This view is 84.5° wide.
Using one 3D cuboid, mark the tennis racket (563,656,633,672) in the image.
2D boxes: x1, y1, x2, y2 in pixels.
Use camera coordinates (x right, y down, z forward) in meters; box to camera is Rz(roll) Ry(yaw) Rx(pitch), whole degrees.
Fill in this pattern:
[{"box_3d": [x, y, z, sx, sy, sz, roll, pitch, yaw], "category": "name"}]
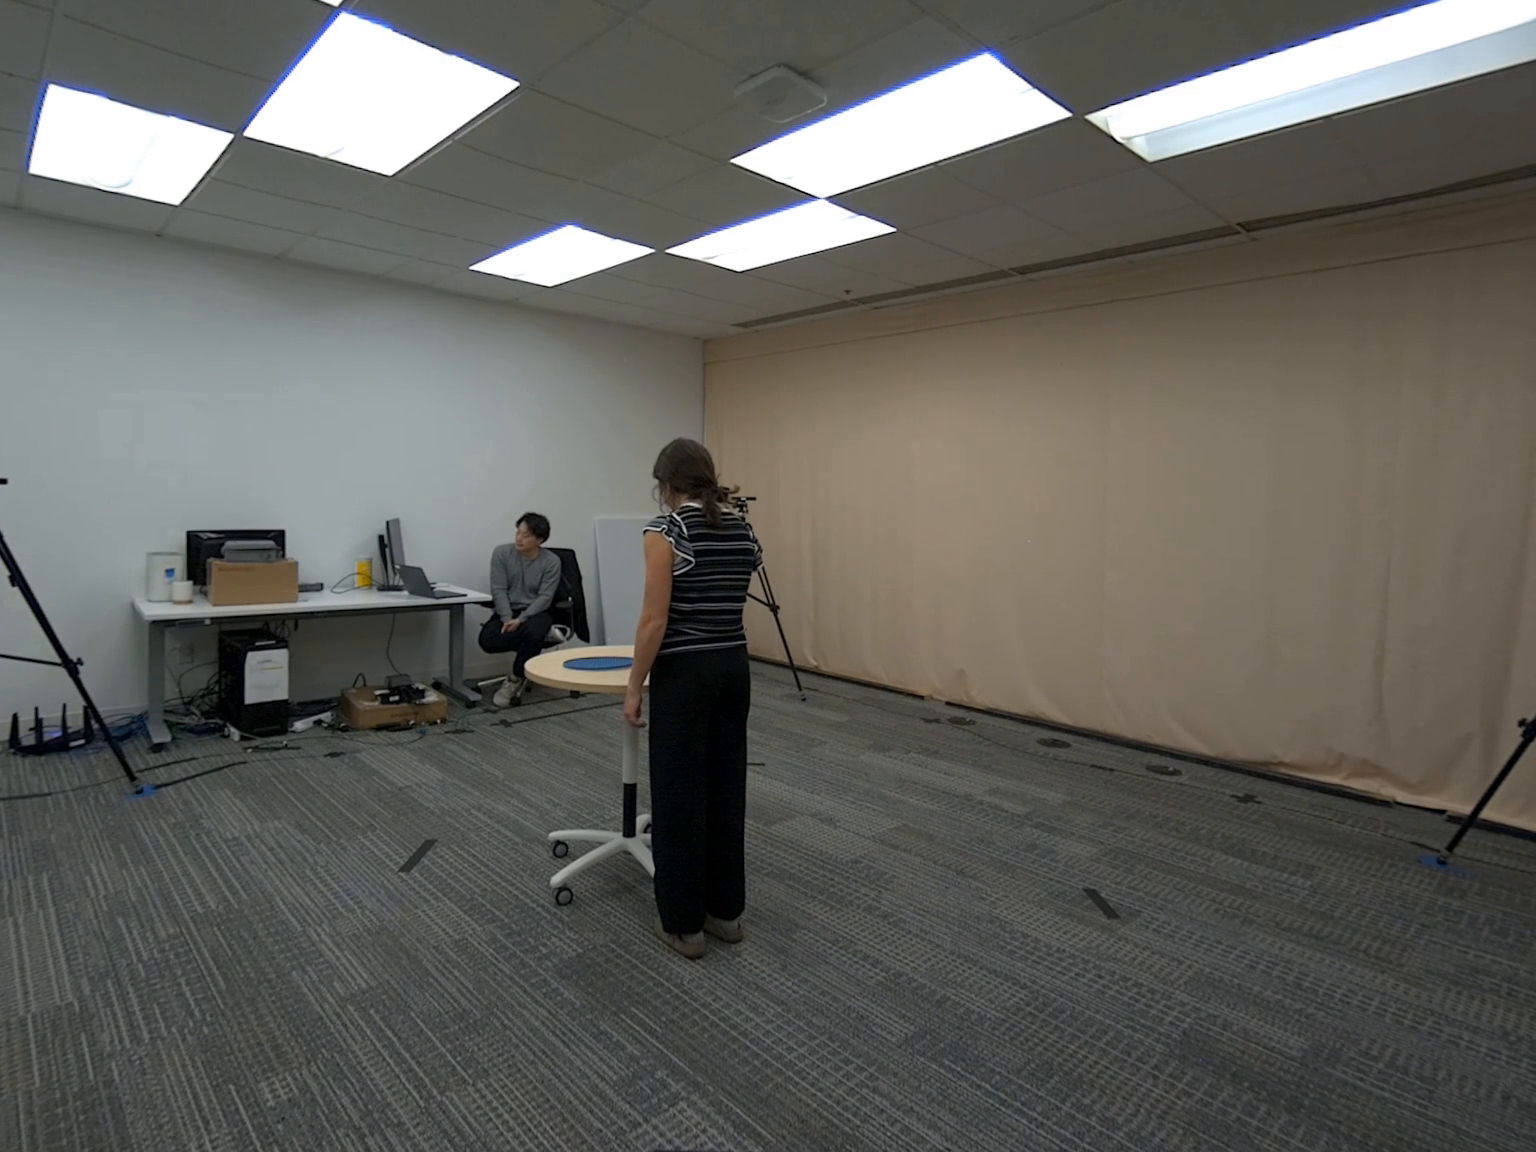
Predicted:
[{"box_3d": [-0.536, 0.315, 3.028, 0.429, 0.032, 0.216, -1, 4, -10], "category": "tennis racket"}]
